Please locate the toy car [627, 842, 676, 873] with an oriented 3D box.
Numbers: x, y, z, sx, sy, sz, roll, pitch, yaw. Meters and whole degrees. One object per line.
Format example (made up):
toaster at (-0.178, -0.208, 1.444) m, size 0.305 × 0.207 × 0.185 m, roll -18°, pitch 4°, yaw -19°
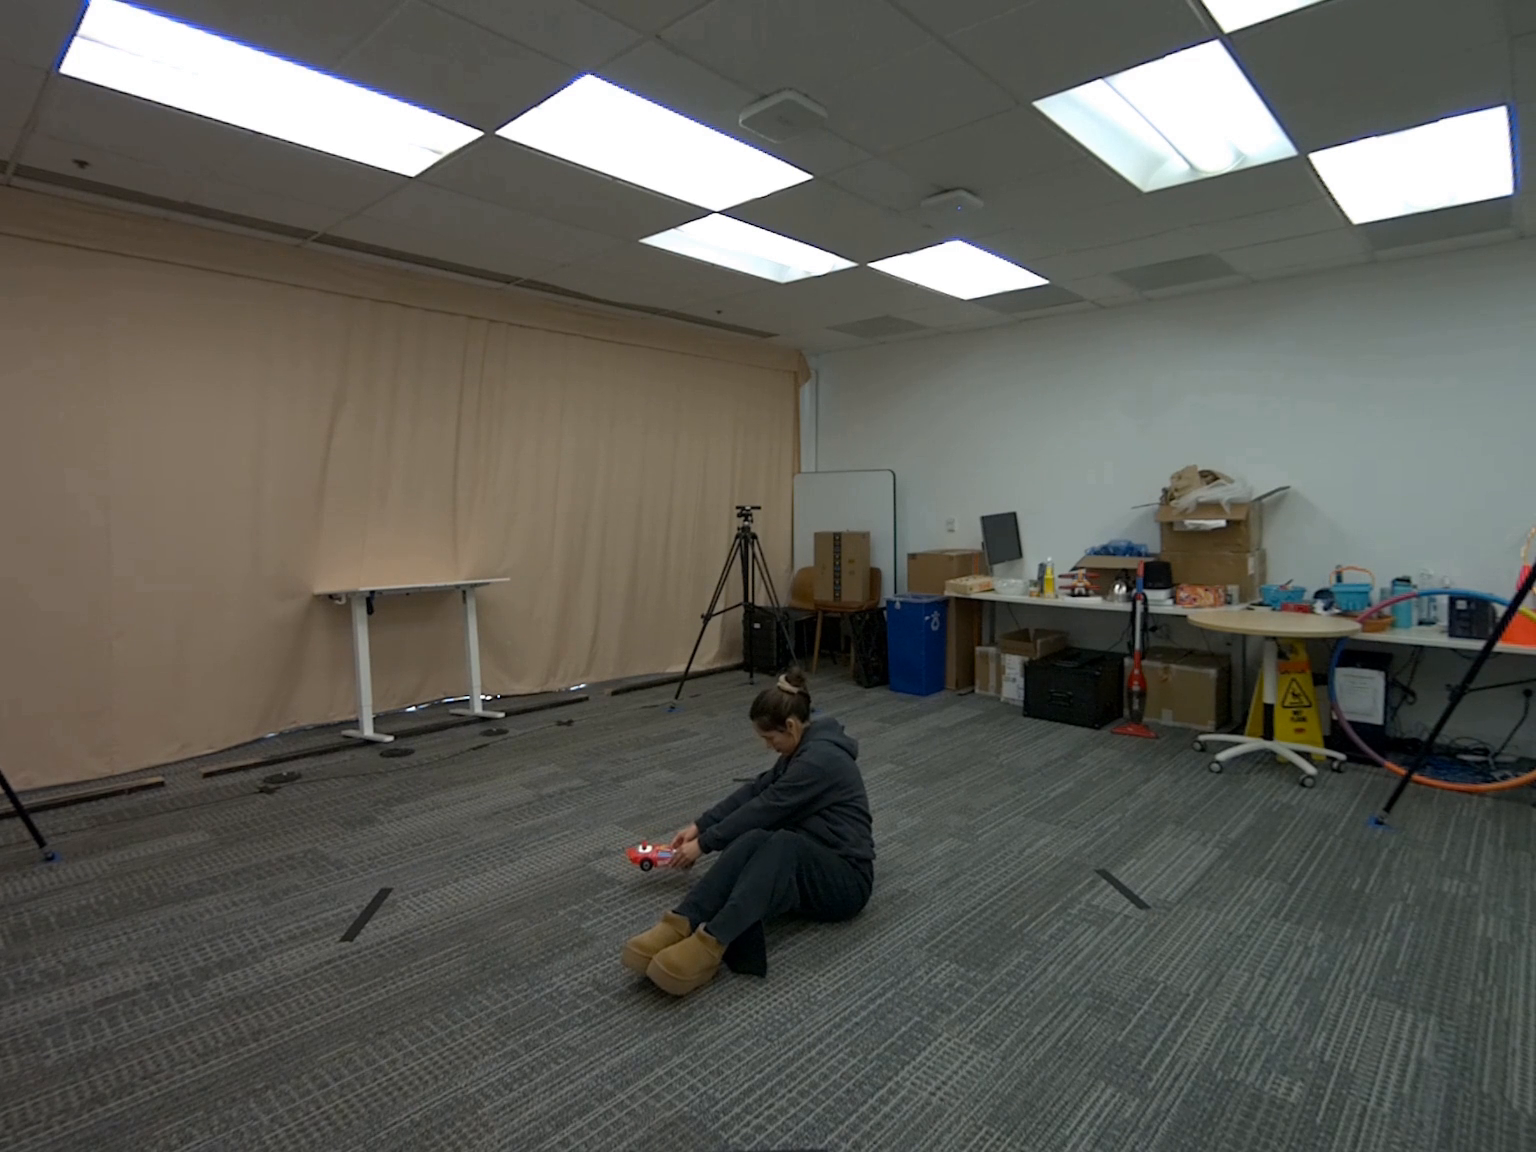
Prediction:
toy car at (-0.375, 1.035, 3.082) m, size 0.254 × 0.083 × 0.130 m, roll 12°, pitch -3°, yaw -2°
